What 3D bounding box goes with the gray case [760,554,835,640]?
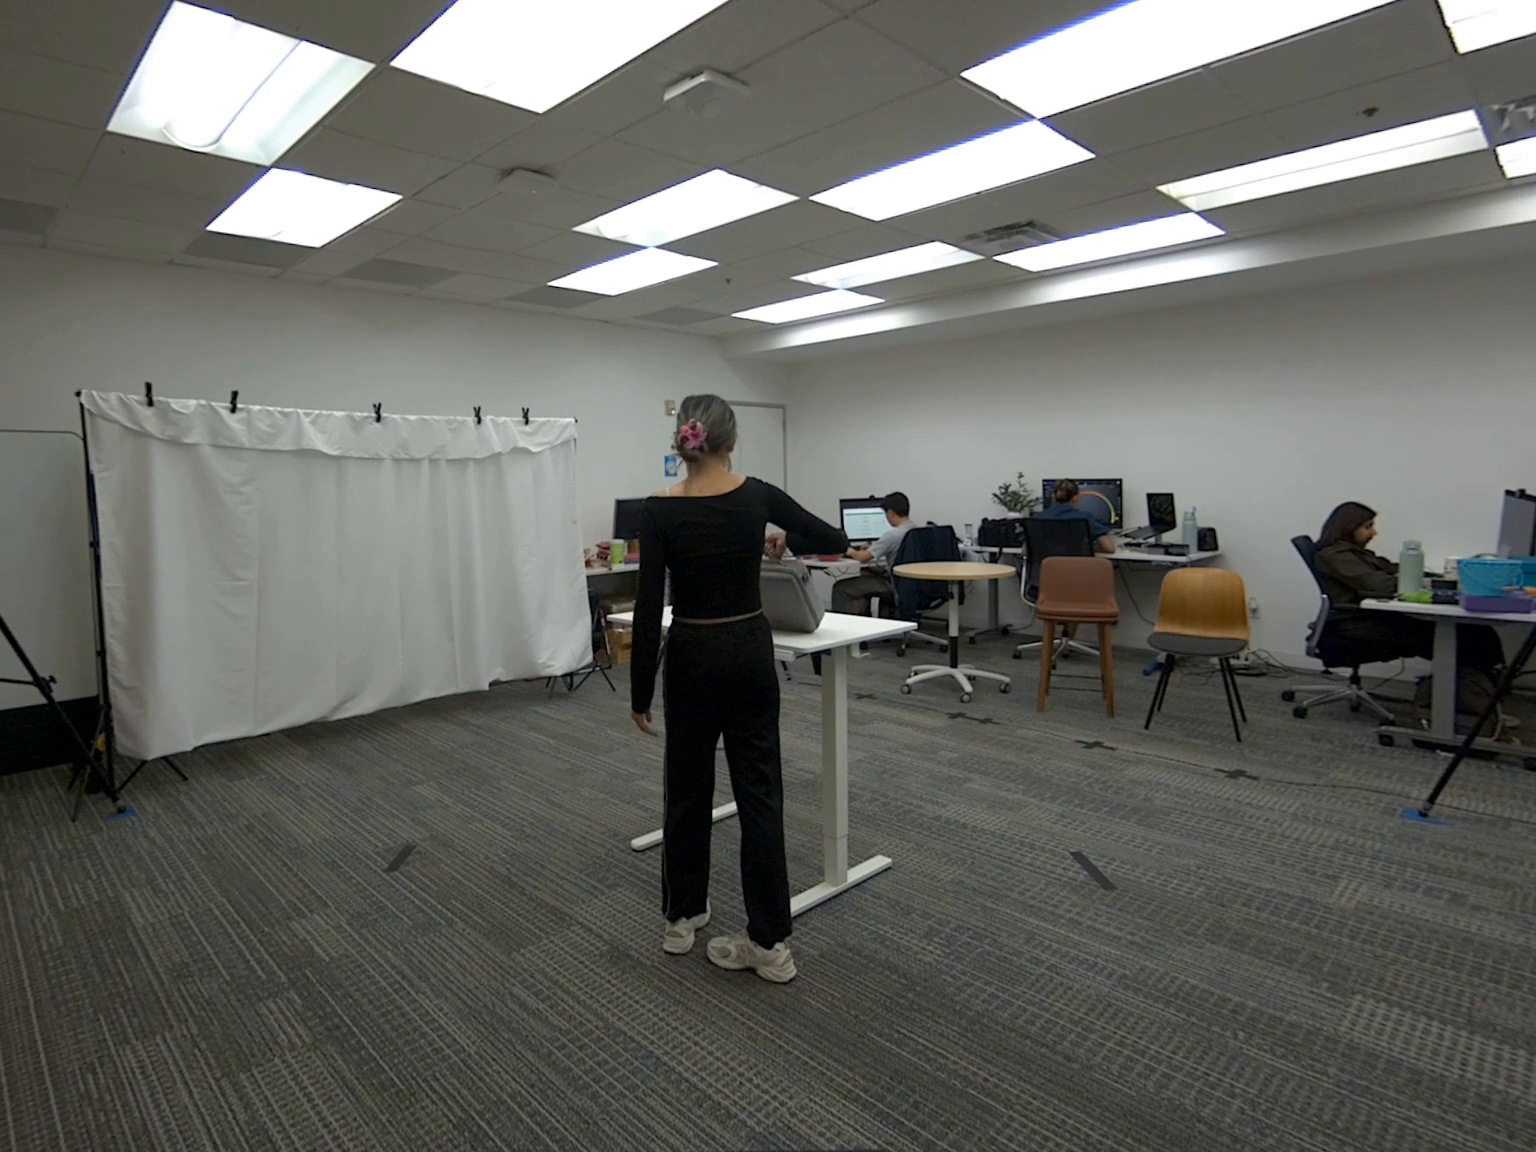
[{"bbox_3d":[0.045,0.062,2.832,0.264,0.252,0.104,4,41,37],"label":"gray case"}]
